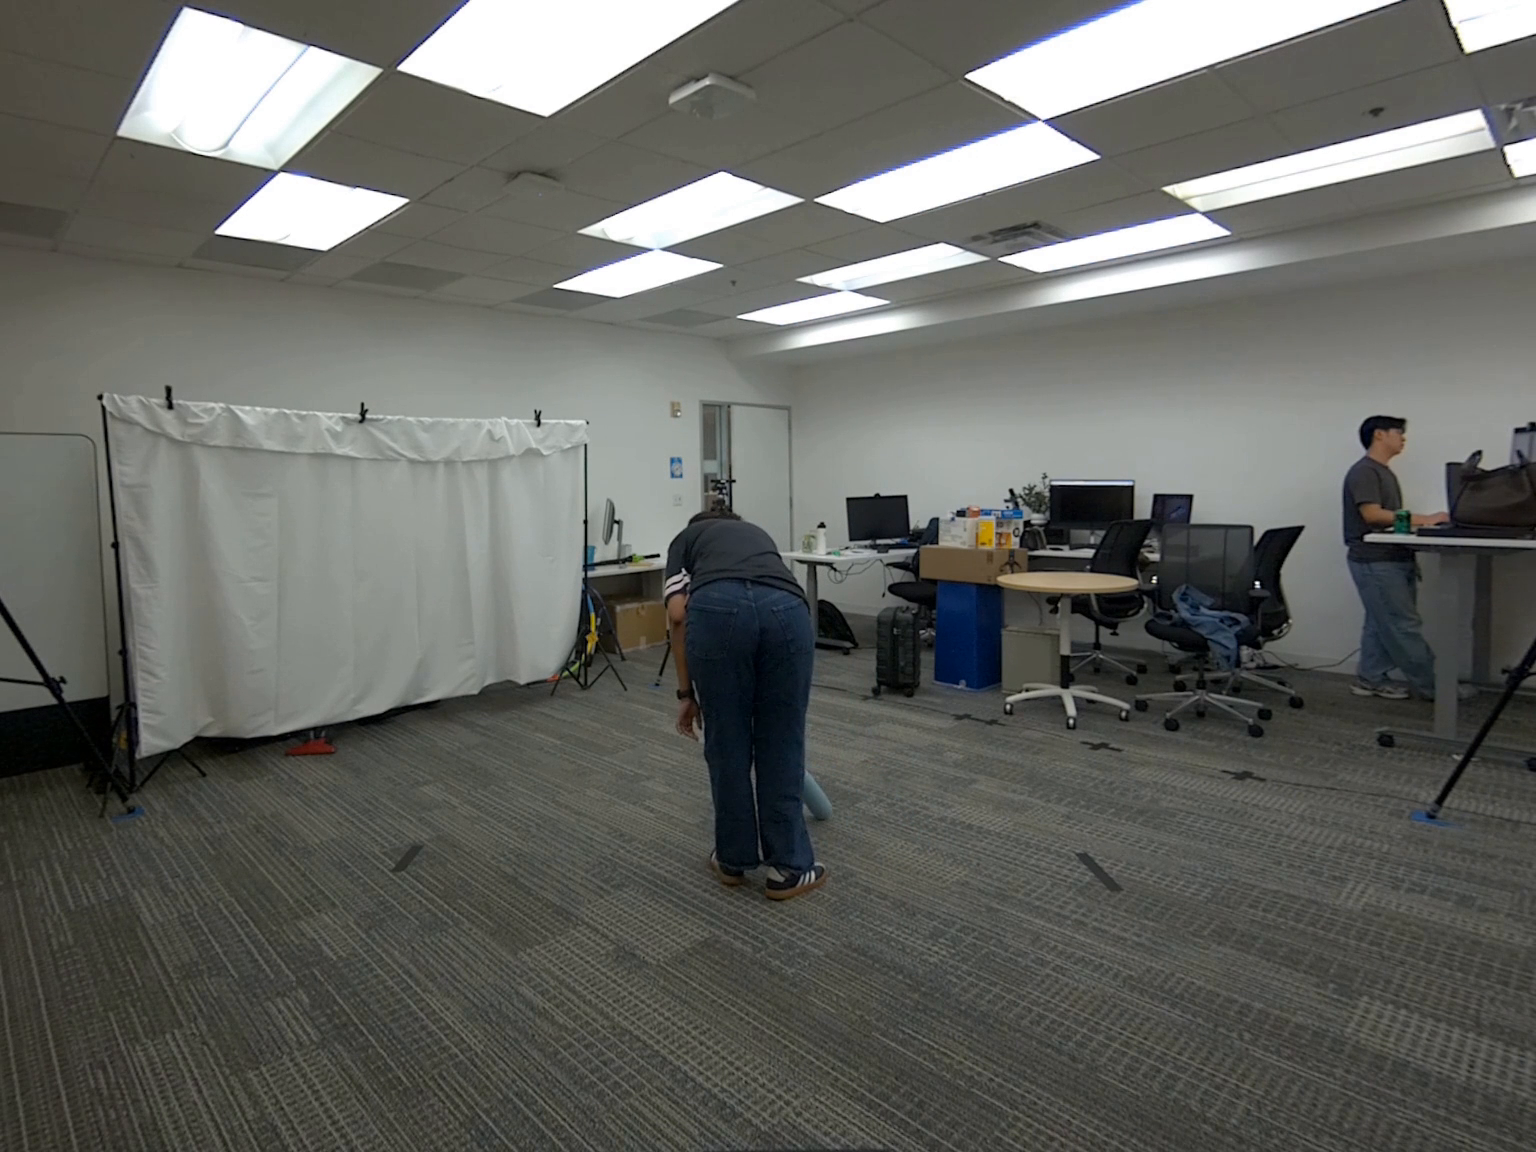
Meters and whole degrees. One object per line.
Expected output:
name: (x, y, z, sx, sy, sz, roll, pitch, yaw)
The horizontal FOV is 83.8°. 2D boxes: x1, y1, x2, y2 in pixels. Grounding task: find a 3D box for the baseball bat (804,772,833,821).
baseball bat: (0.115, 0.781, 3.411, 0.089, 0.527, 0.091, -25, 27, 12)
